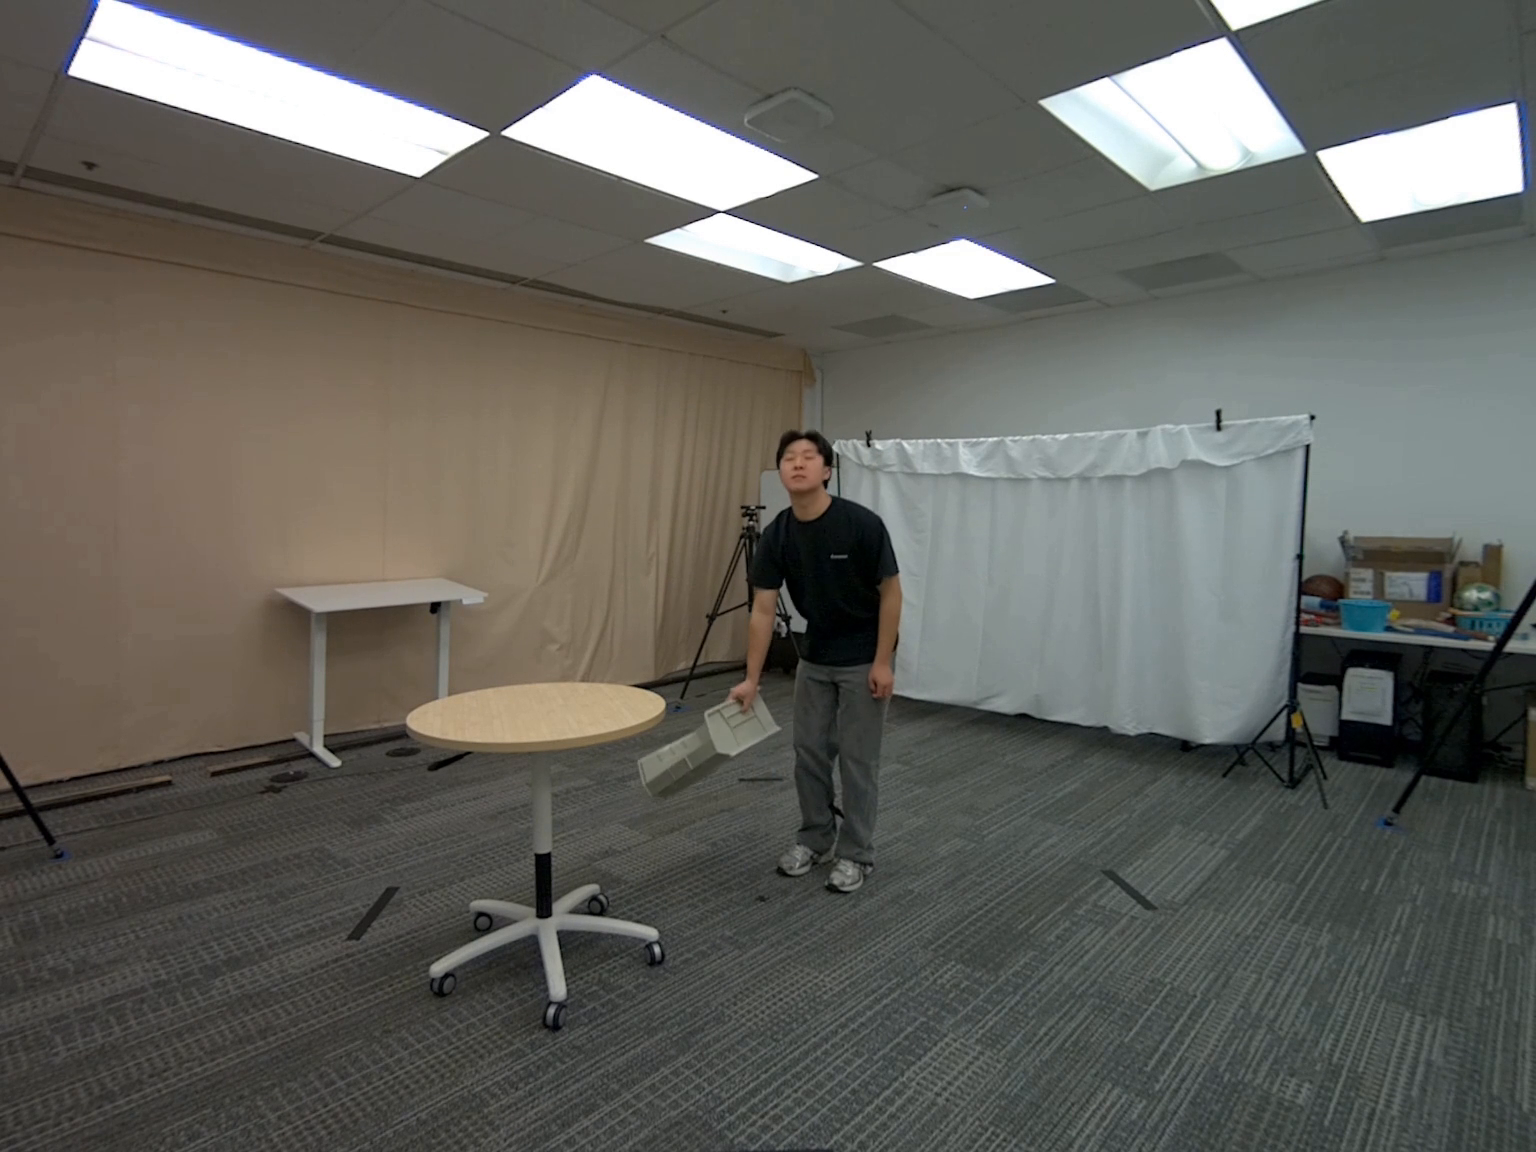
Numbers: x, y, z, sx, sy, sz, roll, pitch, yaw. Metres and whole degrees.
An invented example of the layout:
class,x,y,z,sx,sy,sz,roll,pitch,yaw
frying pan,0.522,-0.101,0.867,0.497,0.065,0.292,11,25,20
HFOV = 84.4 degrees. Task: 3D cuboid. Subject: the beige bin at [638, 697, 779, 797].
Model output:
class,x,y,z,sx,sy,sz,roll,pitch,yaw
beige bin,-0.226,0.640,3.153,0.427,0.192,0.367,-39,-14,34
